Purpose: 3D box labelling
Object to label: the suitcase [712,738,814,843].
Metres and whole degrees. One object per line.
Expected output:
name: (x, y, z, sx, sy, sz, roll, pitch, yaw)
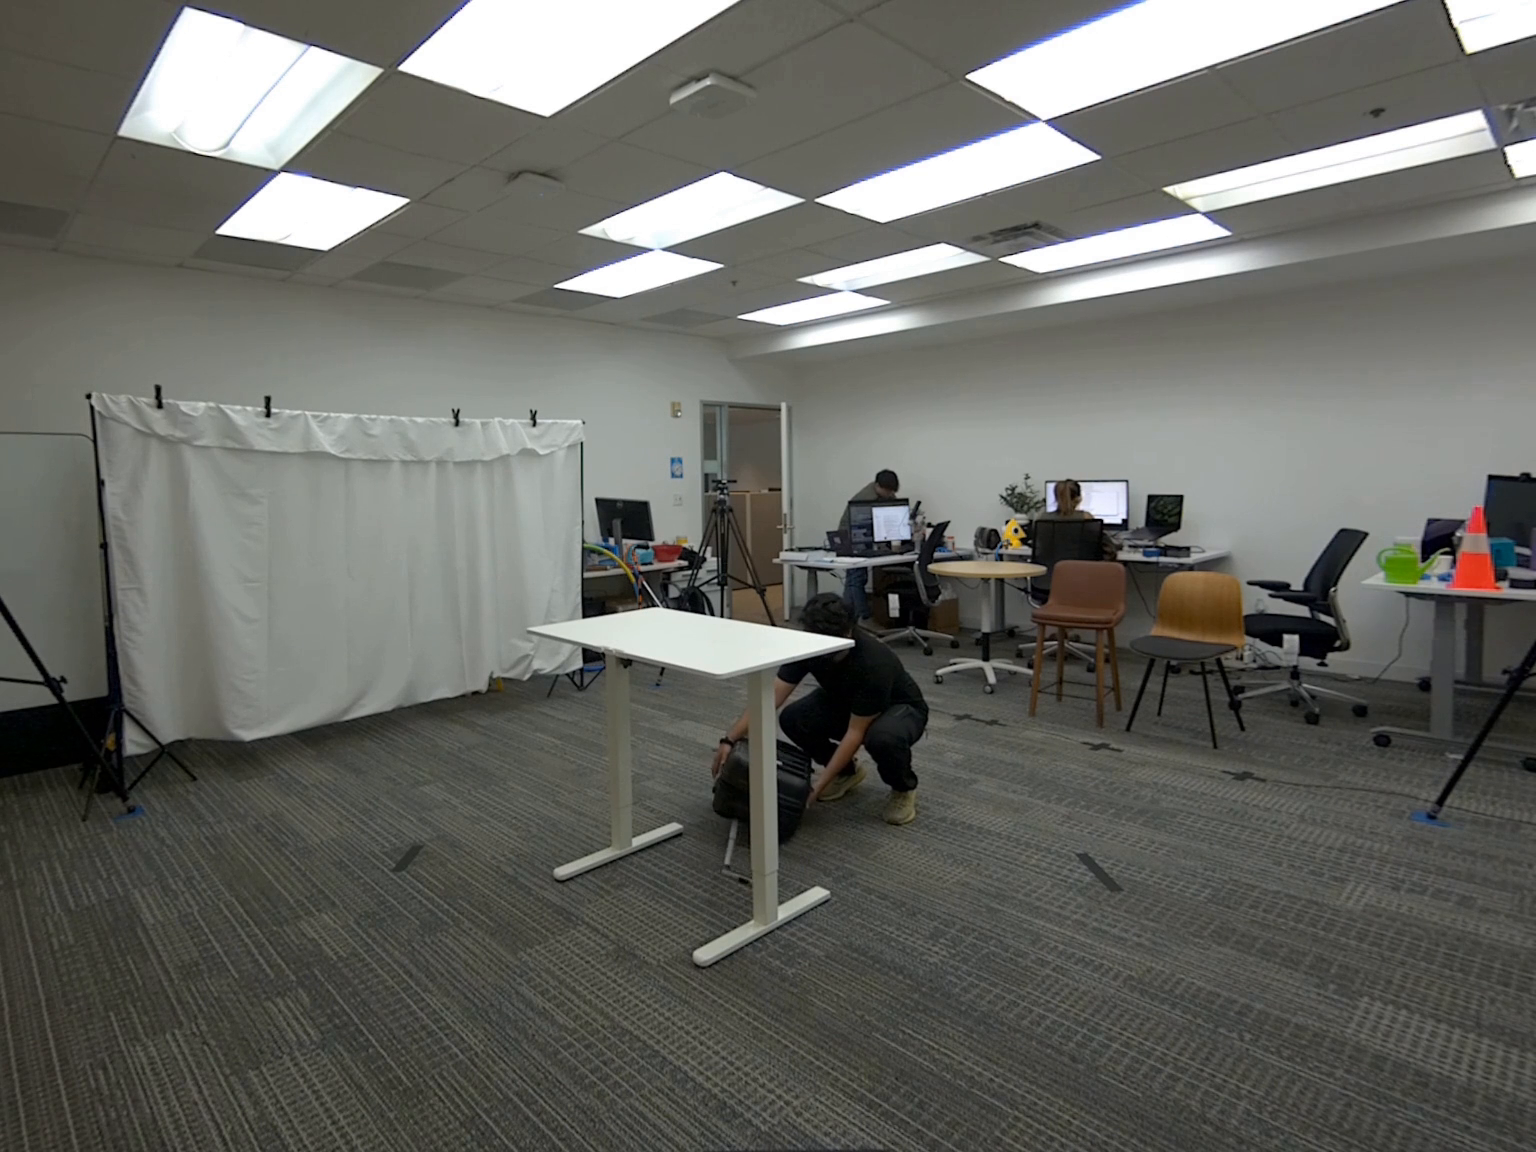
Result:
suitcase: (-0.023, 0.848, 3.301, 0.385, 0.256, 0.977, 20, 3, 0)
